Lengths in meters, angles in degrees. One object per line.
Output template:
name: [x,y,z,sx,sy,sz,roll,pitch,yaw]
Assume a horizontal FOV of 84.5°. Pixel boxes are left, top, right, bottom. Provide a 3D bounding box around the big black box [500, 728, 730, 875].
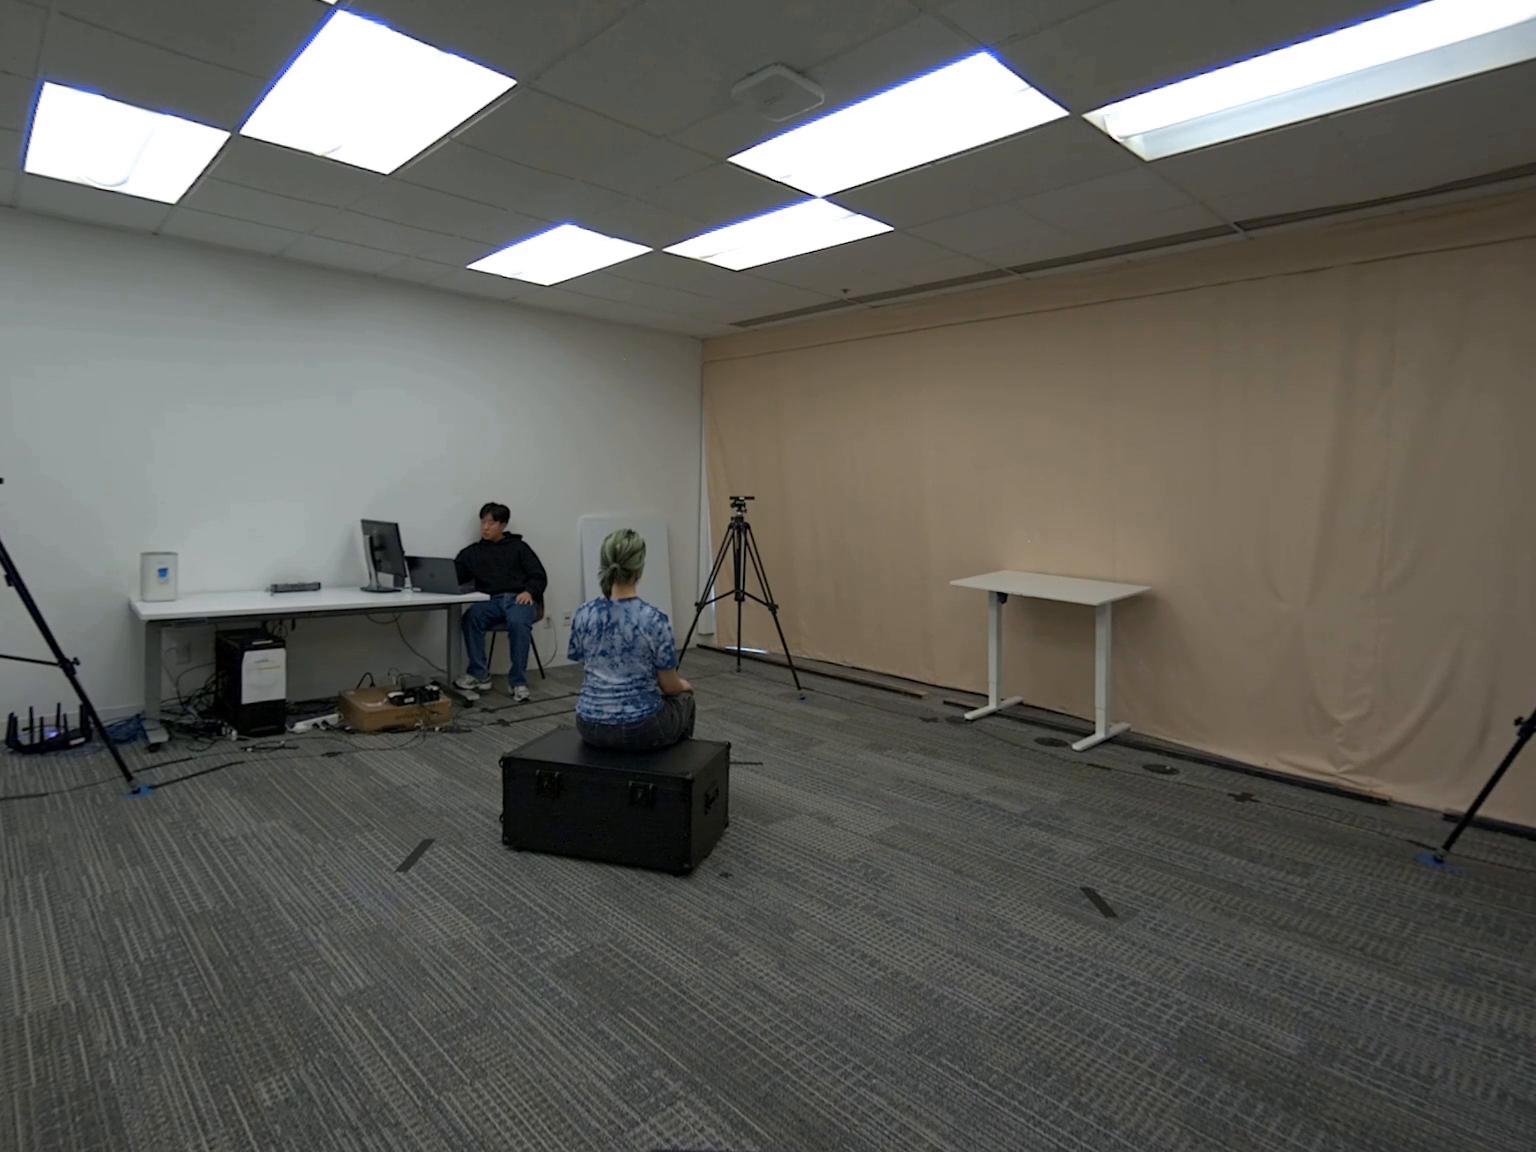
big black box: [-0.634,0.877,3.388,0.872,0.395,0.516,3,5,15]
